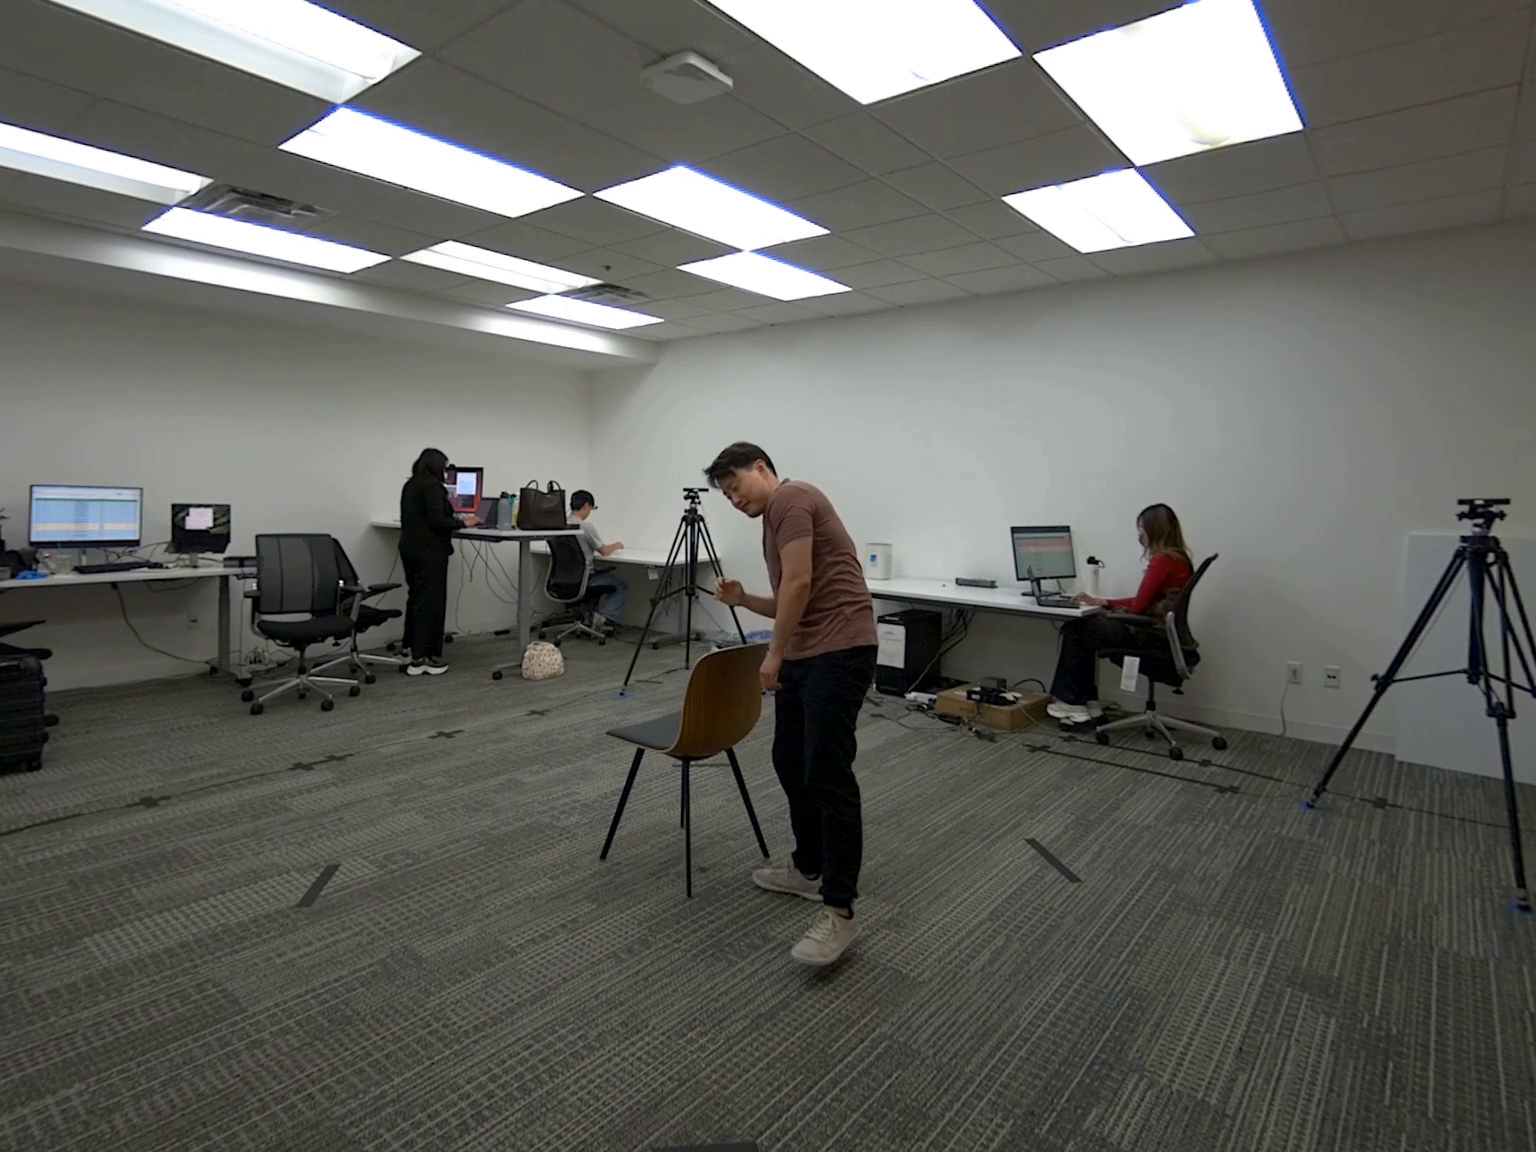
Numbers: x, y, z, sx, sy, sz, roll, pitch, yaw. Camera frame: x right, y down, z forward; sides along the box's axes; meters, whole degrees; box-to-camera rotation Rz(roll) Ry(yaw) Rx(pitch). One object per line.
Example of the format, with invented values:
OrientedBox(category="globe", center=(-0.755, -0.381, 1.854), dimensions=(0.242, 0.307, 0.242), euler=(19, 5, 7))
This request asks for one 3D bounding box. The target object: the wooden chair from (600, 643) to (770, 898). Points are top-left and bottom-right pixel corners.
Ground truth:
OrientedBox(category="wooden chair", center=(-0.321, 0.635, 3.179), dimensions=(0.542, 0.873, 0.464), euler=(9, 8, 38))
